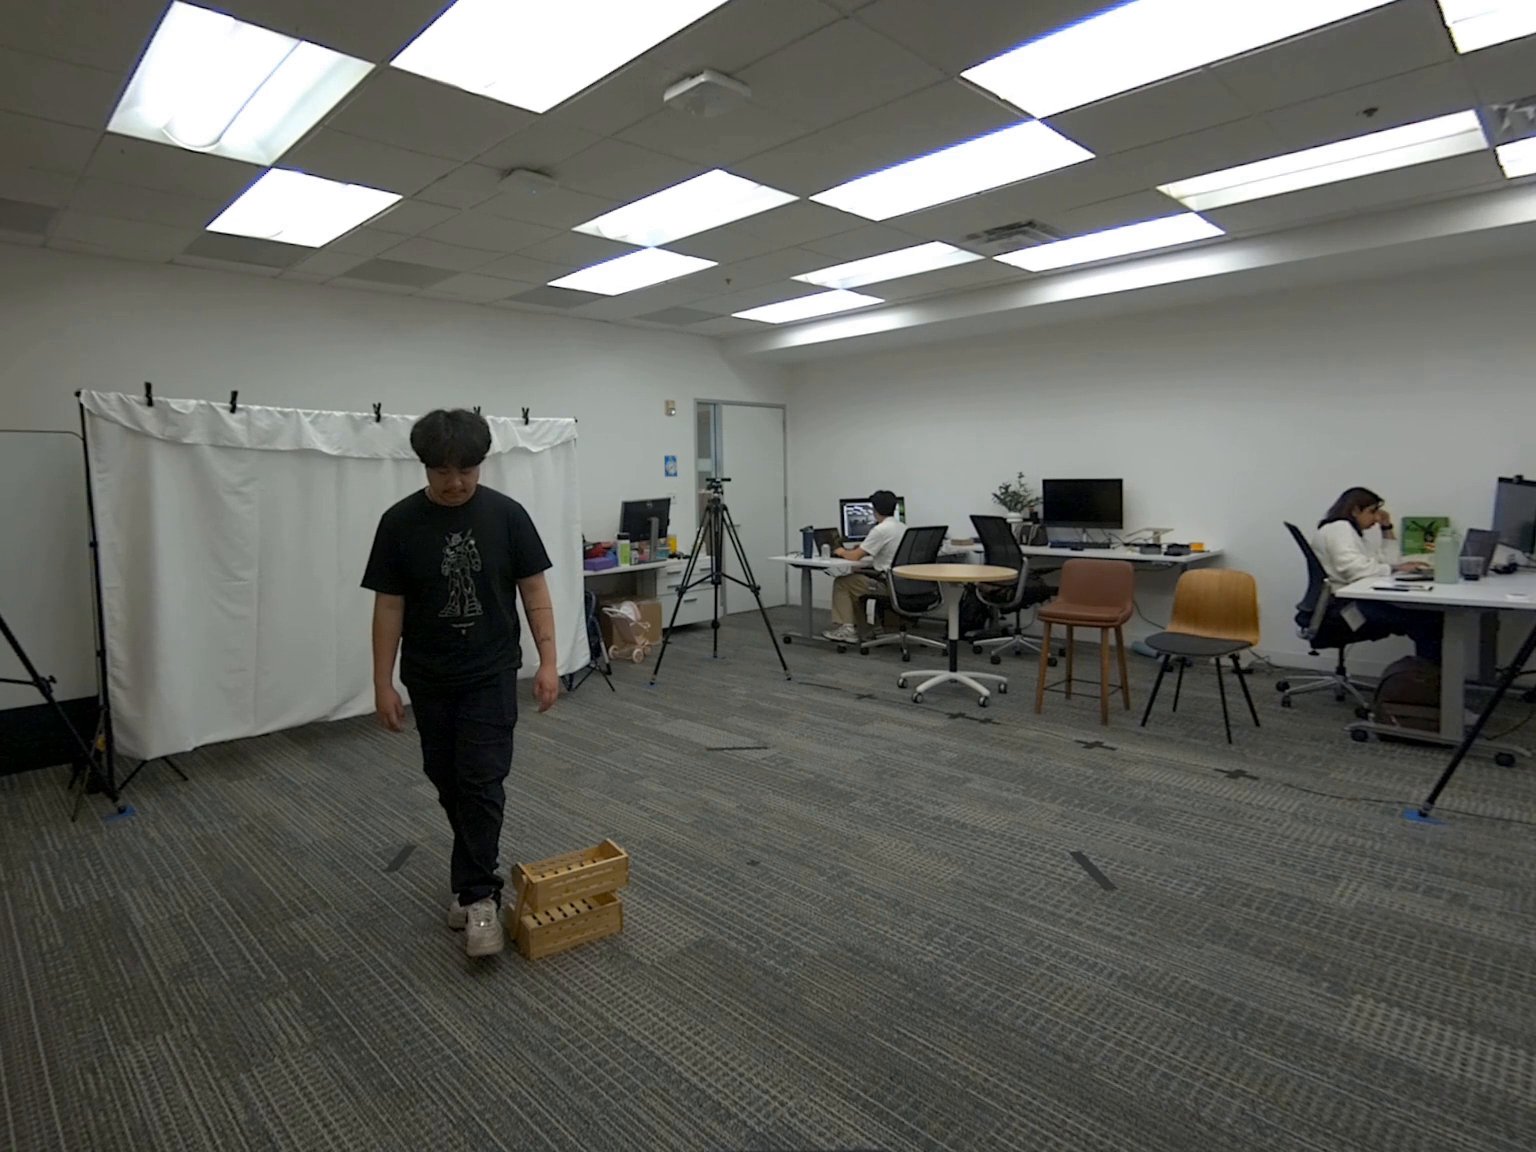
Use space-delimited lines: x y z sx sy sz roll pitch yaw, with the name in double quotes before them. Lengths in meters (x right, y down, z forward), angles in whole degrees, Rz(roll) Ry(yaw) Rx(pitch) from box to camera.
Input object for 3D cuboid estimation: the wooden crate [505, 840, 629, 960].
"wooden crate" -0.632 0.970 2.650 0.316 0.272 0.311 -5 8 -34
